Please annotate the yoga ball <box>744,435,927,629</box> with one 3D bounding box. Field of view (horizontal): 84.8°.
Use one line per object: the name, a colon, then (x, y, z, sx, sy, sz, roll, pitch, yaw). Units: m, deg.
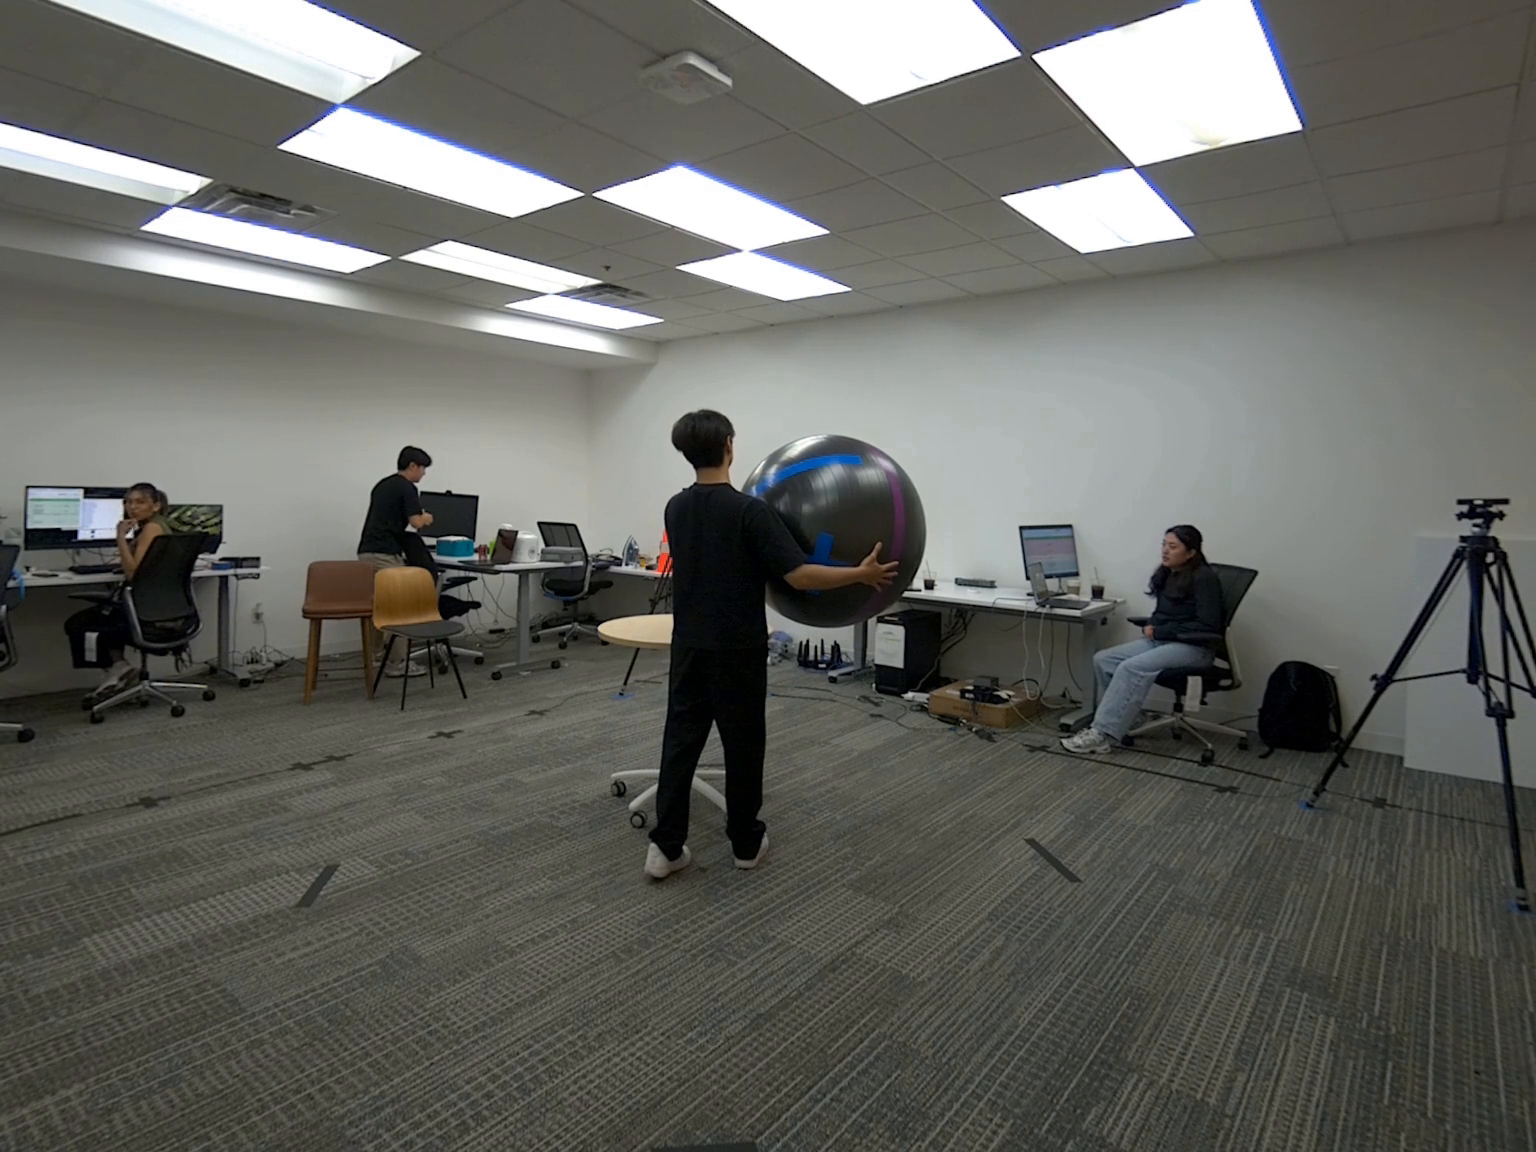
yoga ball: (0.237, -0.177, 3.385, 0.757, 0.755, 0.762, 1, 4, -2)
